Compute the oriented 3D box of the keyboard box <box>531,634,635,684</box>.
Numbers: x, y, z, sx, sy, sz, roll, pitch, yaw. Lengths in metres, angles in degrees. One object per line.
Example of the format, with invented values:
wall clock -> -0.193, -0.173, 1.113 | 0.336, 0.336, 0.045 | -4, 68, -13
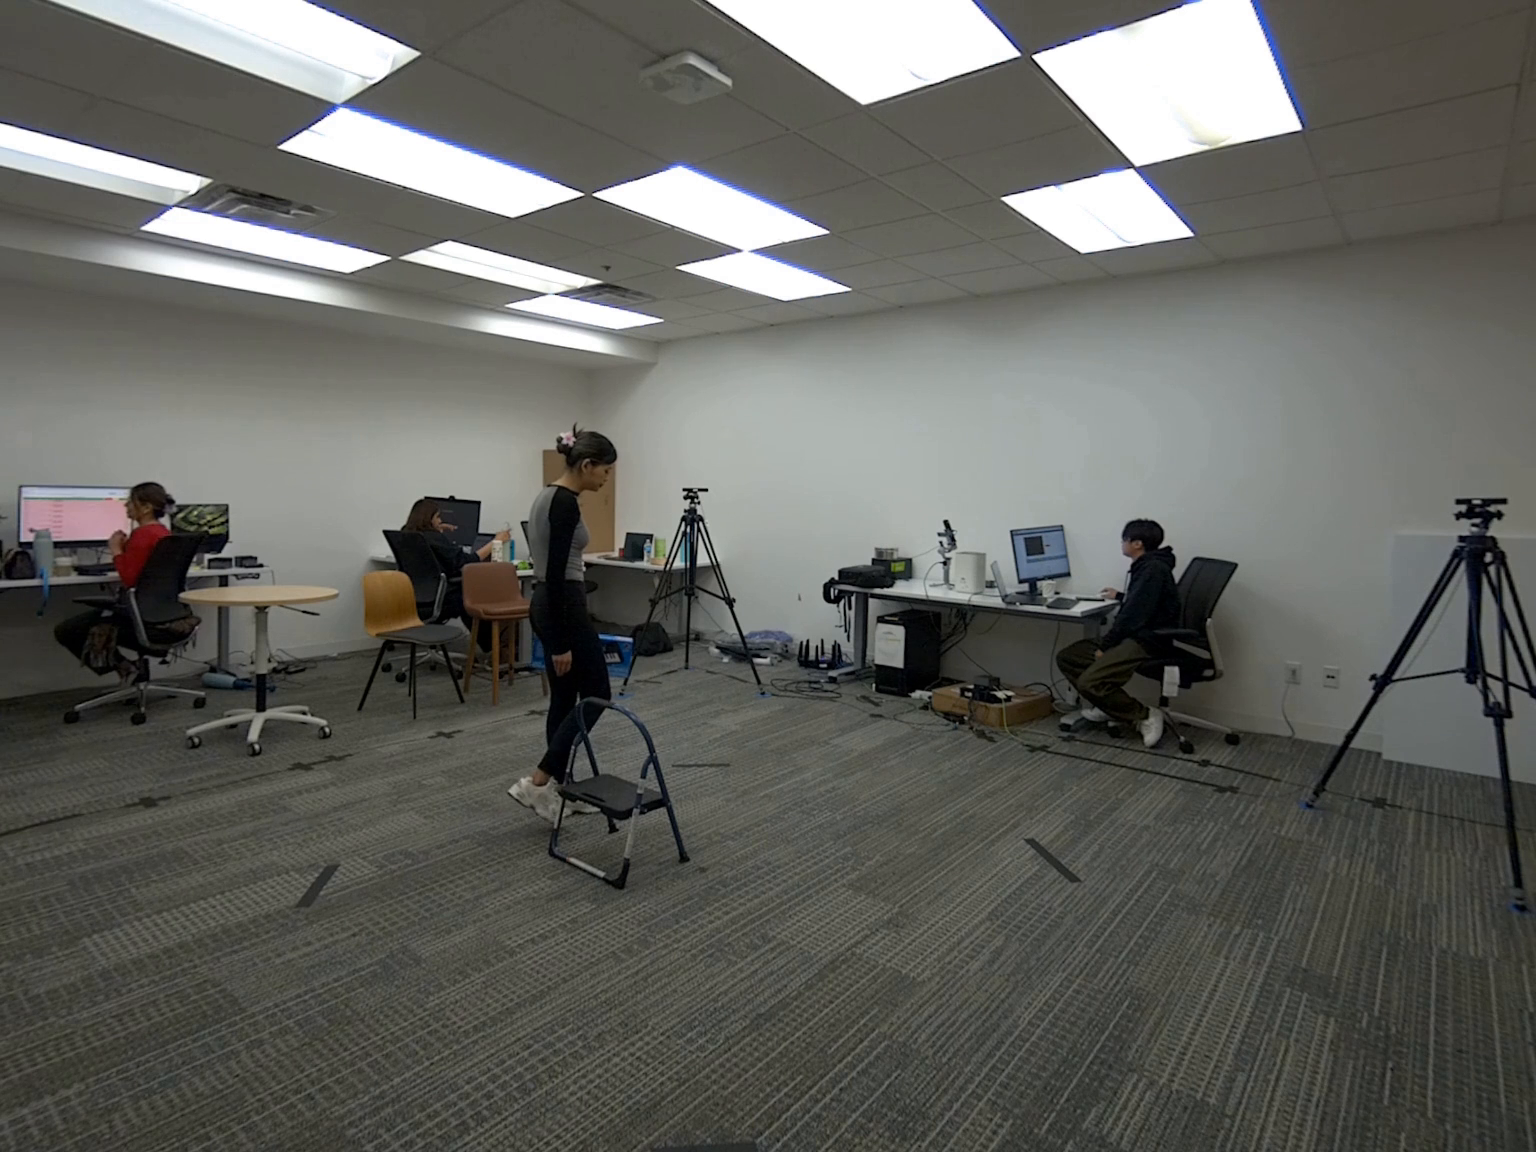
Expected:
keyboard box -> -0.848, 0.344, 3.824 | 0.433, 0.175, 0.060 | 7, 5, -8
